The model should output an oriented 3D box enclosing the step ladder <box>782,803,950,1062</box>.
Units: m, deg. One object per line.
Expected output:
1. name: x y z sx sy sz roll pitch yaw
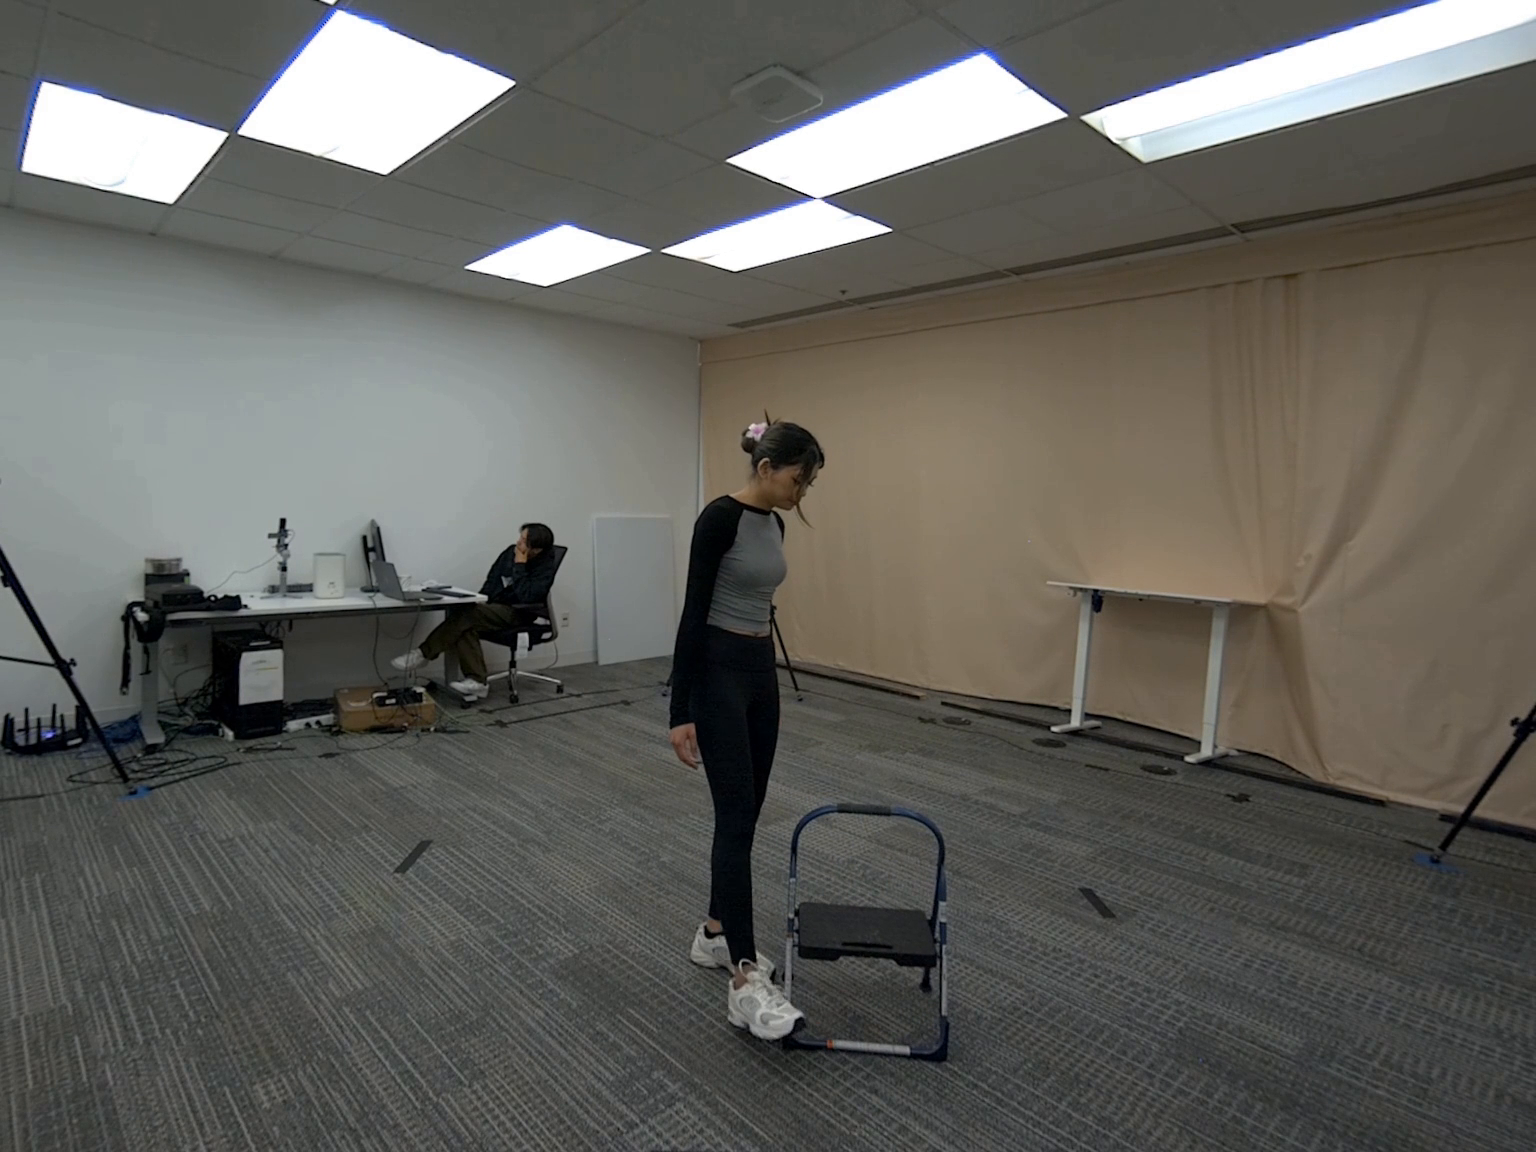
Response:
1. step ladder: 0.256 0.894 2.264 0.432 0.605 0.349 1 3 3
